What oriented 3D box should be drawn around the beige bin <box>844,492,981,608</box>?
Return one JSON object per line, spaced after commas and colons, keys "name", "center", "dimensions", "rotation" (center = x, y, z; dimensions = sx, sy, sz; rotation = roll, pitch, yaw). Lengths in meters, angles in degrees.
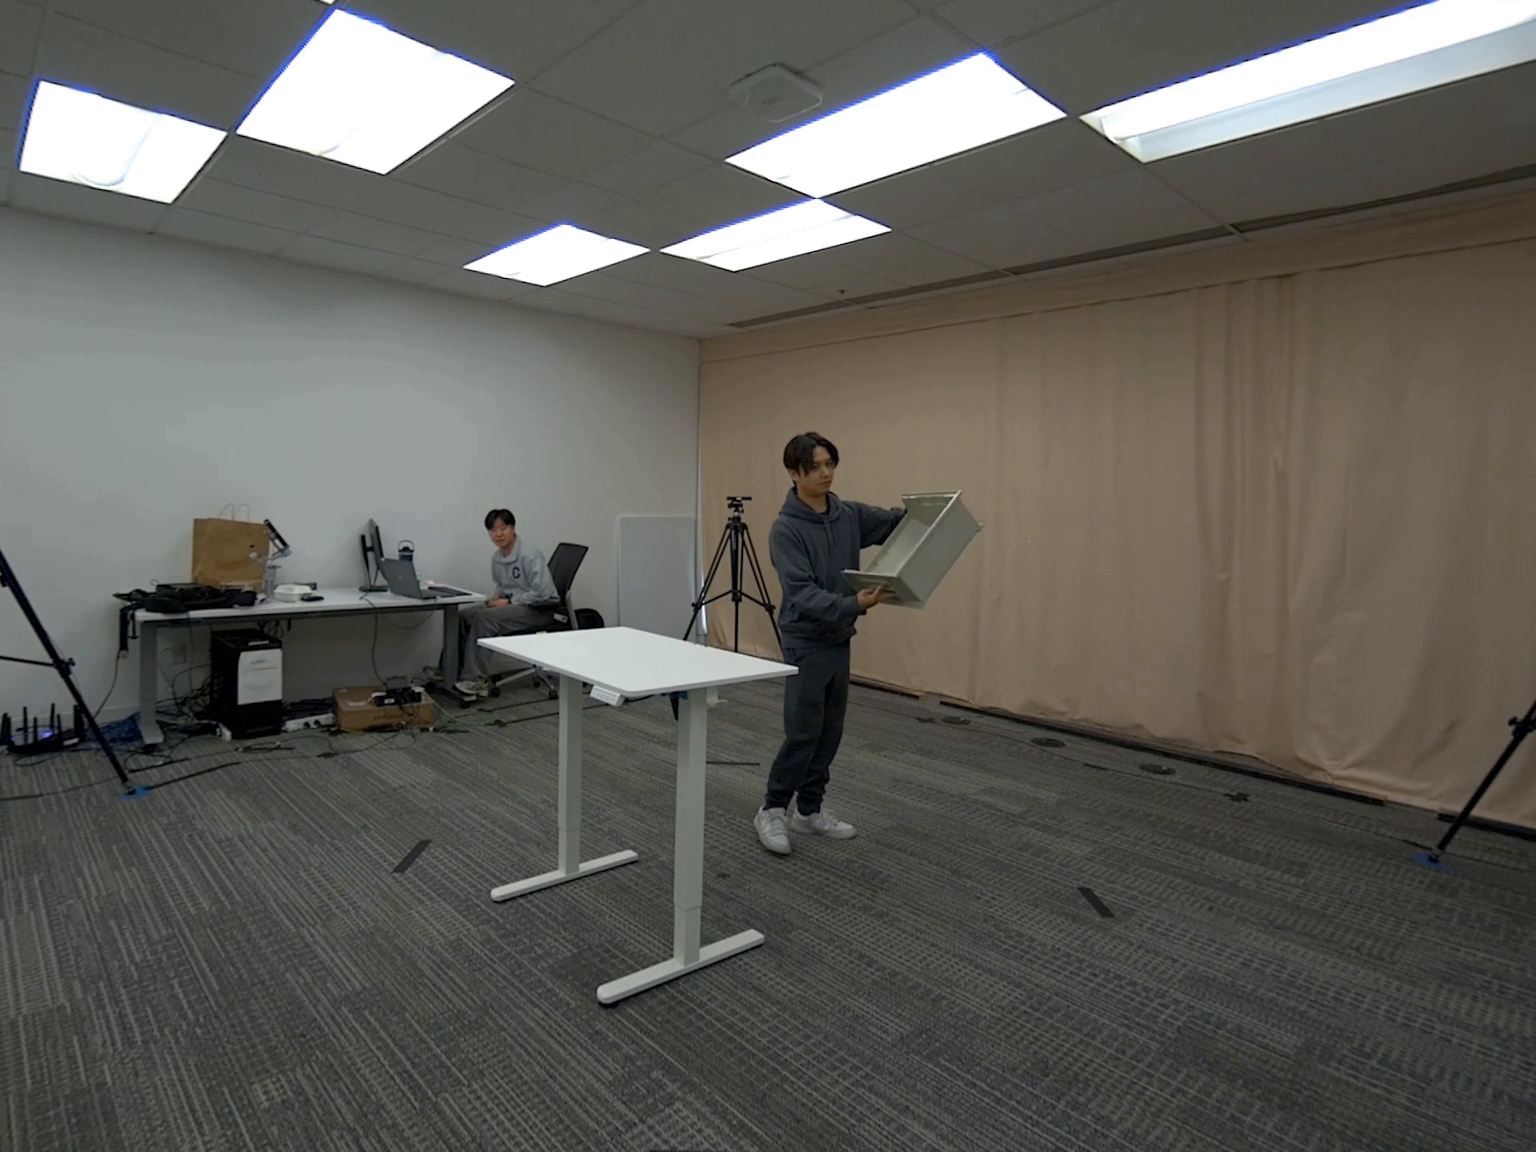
{"name": "beige bin", "center": [0.525, -0.099, 3.172], "dimensions": [0.185, 0.422, 0.385], "rotation": [47, -18, -22]}
